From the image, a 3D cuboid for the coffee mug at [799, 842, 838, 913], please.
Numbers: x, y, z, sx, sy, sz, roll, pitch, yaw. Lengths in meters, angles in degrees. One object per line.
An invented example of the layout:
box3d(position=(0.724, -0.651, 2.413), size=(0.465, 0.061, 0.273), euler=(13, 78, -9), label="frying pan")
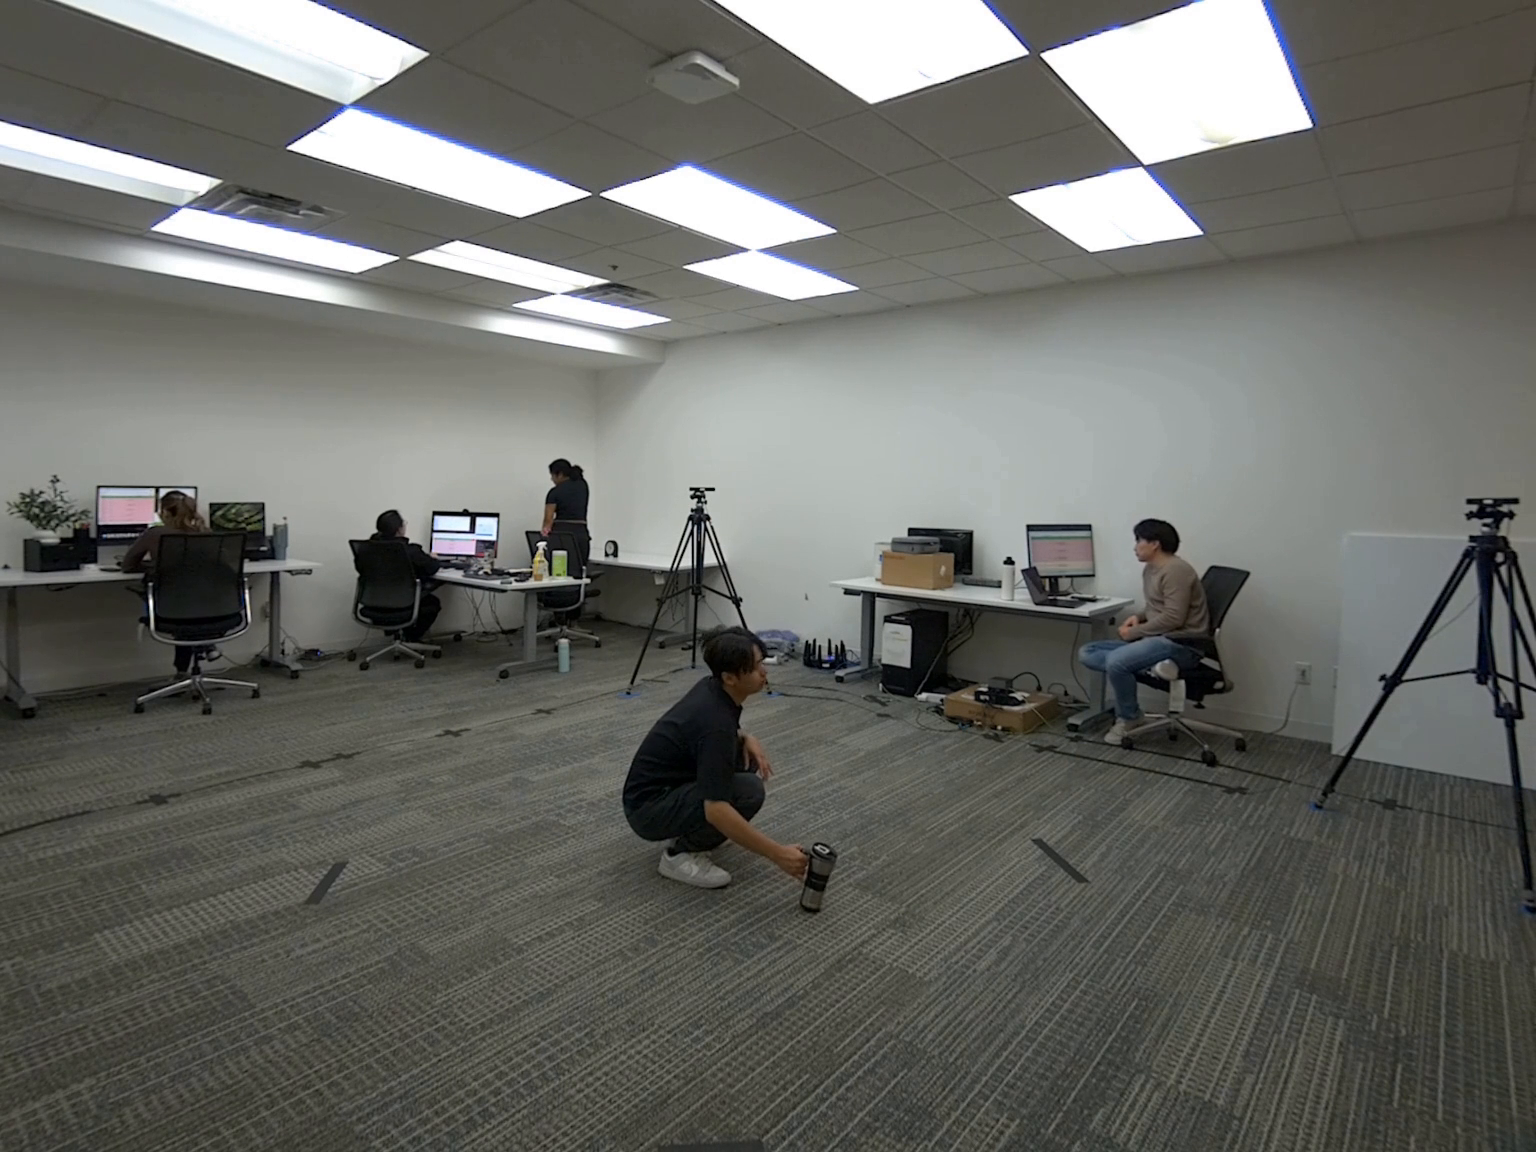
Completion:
box3d(position=(0.149, 0.989, 2.834), size=(0.127, 0.201, 0.085), euler=(22, 13, 39), label="coffee mug")
